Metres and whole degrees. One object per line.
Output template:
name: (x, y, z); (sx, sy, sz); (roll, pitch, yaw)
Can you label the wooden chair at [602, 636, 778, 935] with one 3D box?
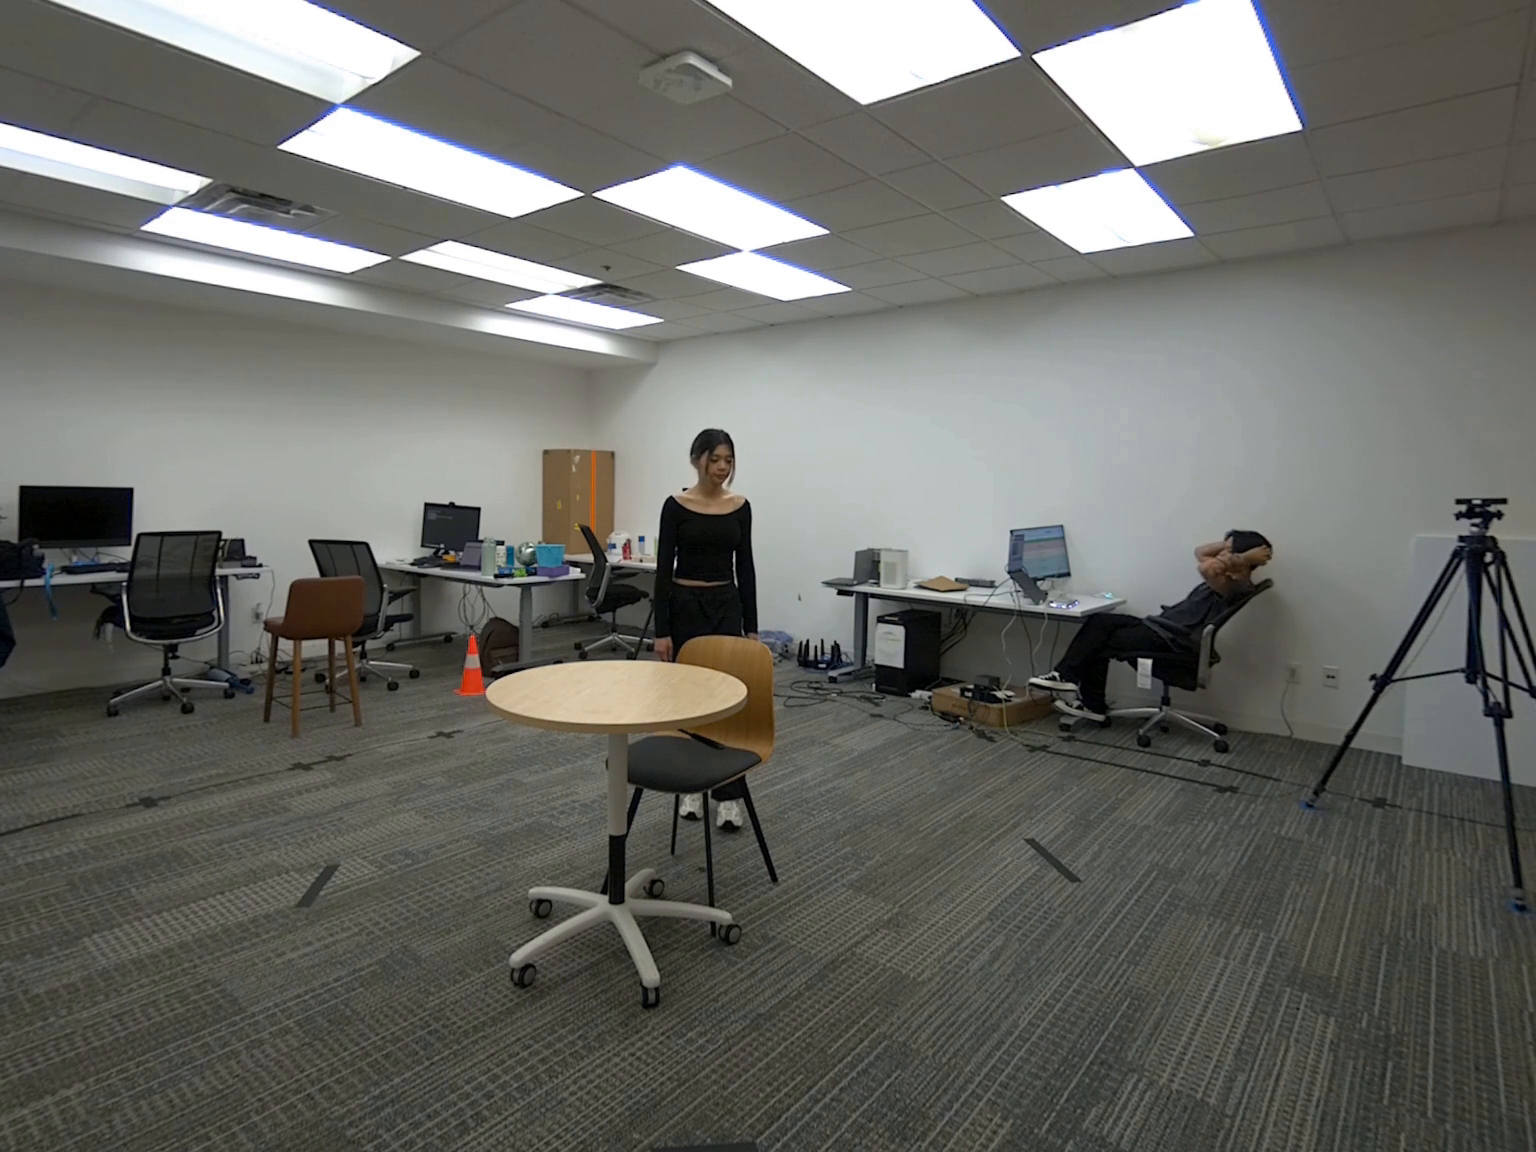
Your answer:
wooden chair: (-0.262, 0.657, 2.907); (0.492, 0.878, 0.508); (4, 0, 29)
